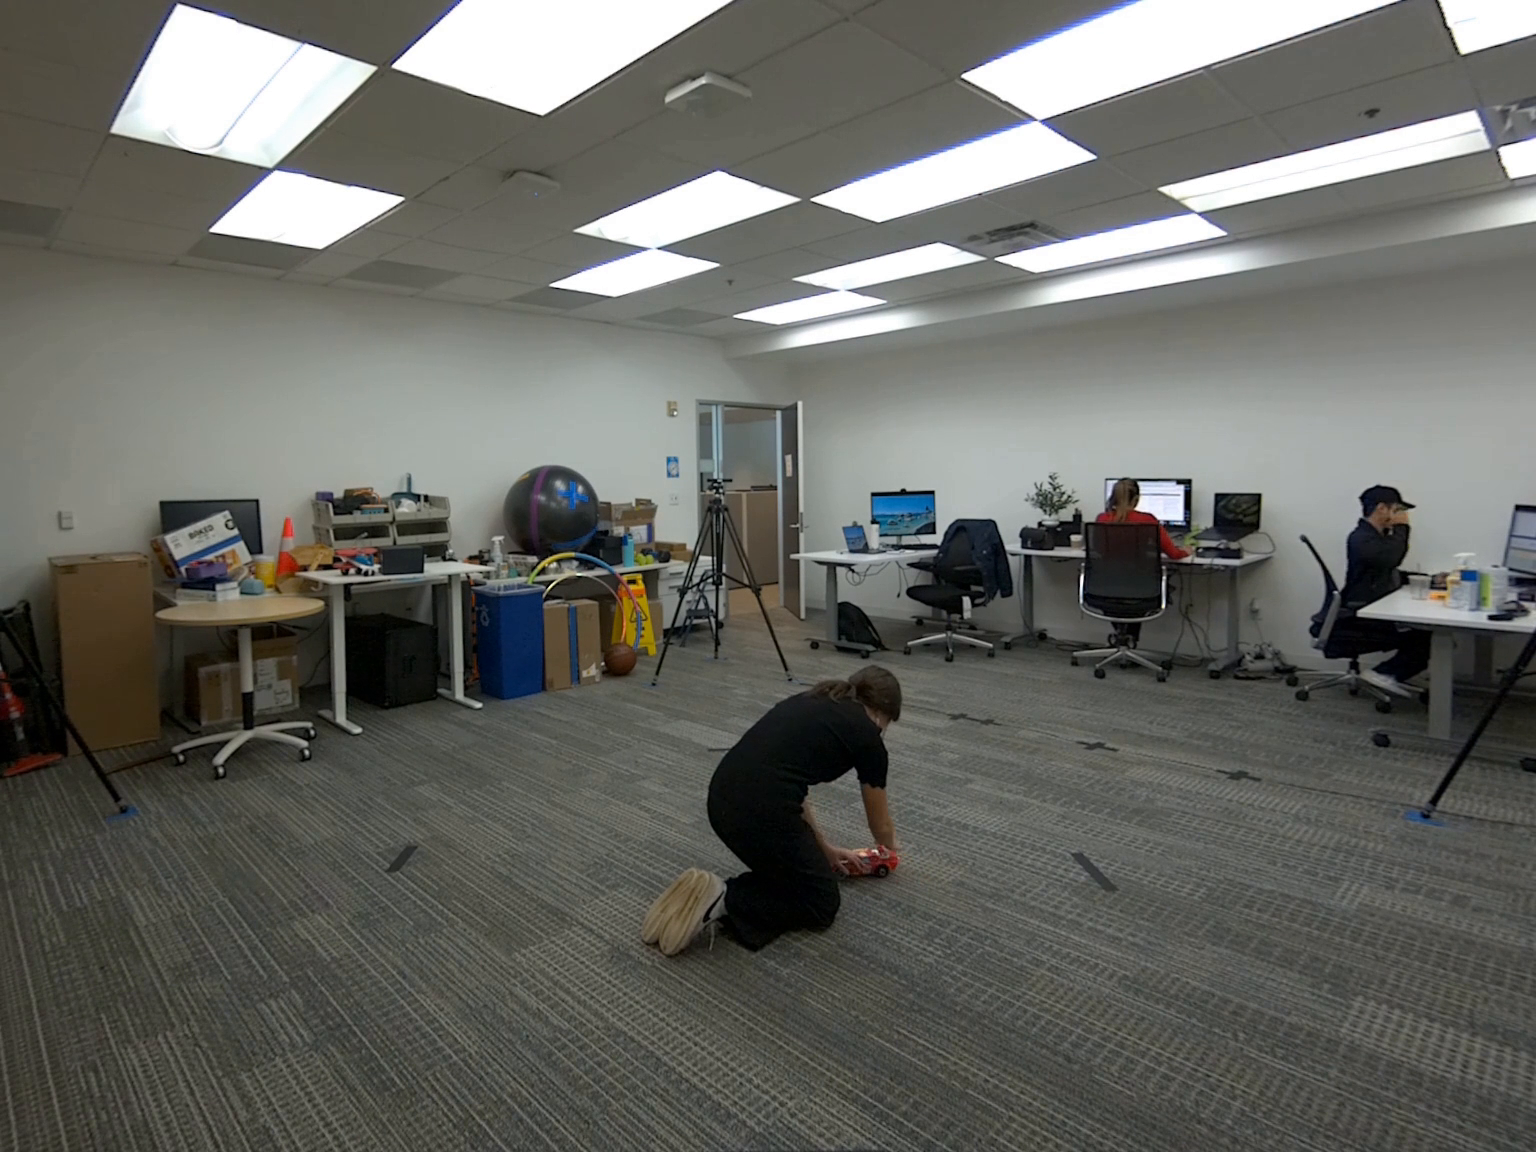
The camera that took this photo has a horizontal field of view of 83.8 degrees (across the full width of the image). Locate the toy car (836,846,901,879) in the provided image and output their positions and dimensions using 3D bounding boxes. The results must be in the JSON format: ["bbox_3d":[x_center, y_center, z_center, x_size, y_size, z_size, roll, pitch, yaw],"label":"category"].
[{"bbox_3d":[0.343,1.015,3.020,0.254,0.083,0.131,-13,5,-5],"label":"toy car"}]
